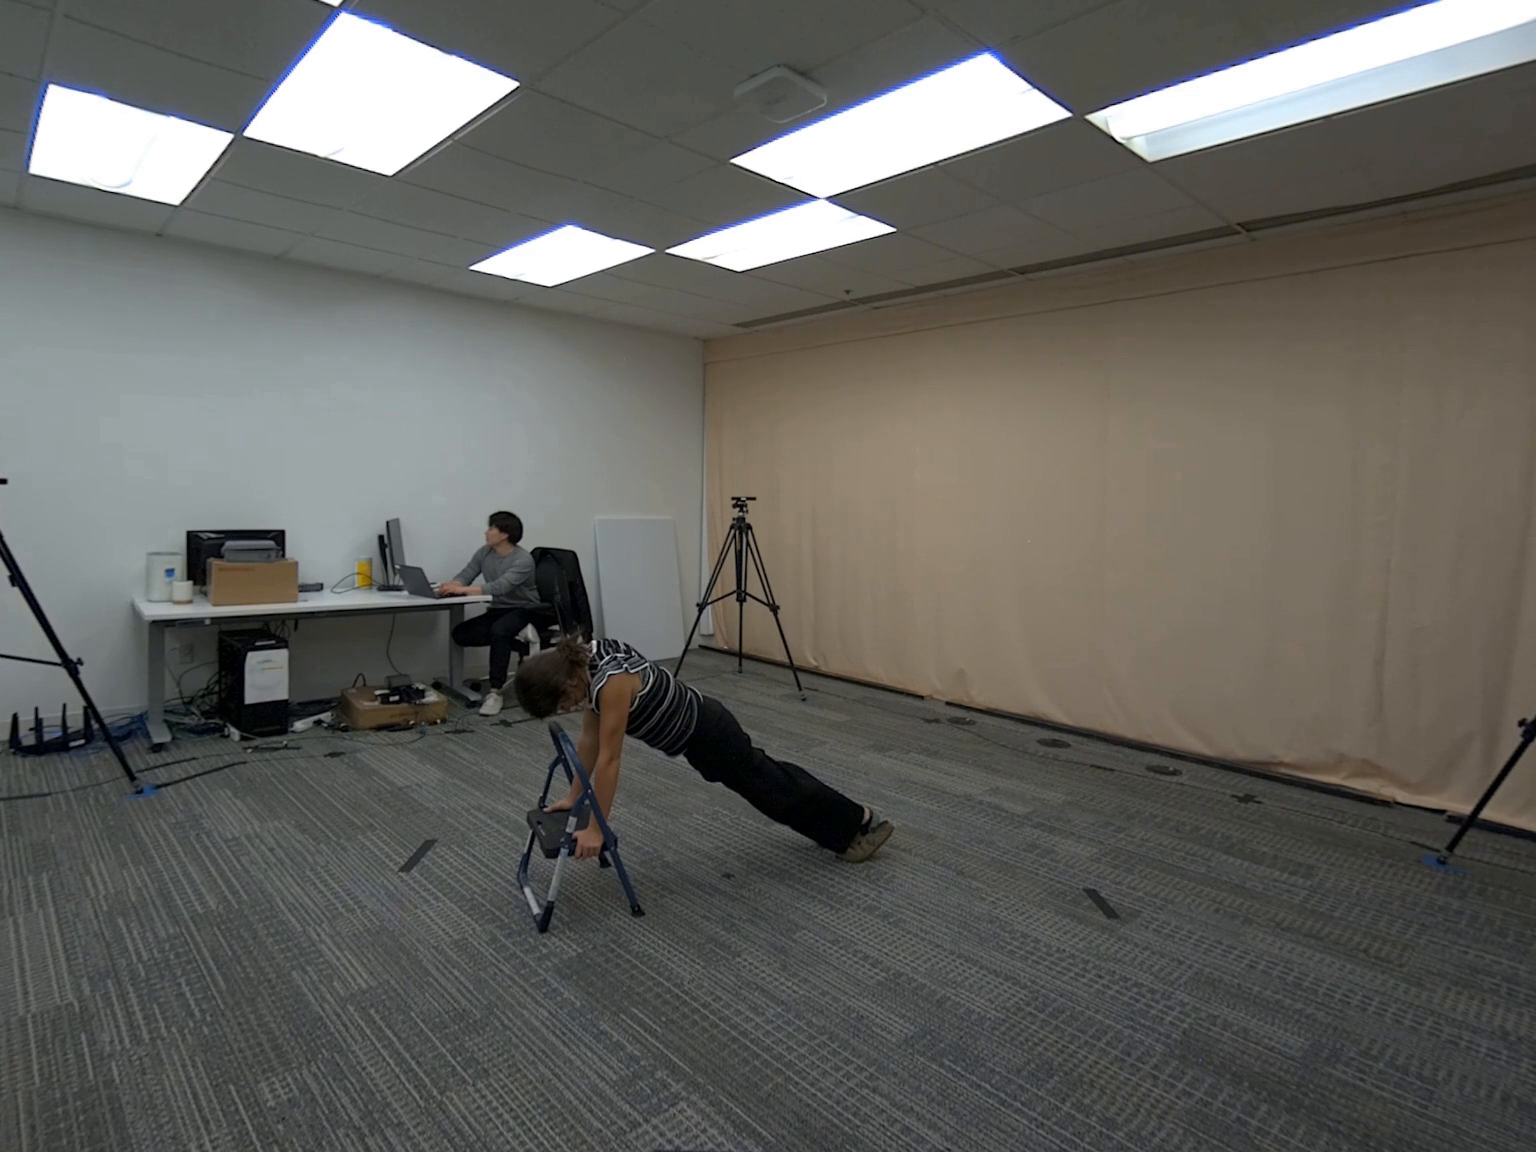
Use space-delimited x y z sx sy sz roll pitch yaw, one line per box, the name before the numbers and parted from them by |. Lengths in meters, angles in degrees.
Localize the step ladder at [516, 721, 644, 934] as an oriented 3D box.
step ladder | -0.661 0.813 2.900 0.343 0.604 0.440 -1 4 -27
